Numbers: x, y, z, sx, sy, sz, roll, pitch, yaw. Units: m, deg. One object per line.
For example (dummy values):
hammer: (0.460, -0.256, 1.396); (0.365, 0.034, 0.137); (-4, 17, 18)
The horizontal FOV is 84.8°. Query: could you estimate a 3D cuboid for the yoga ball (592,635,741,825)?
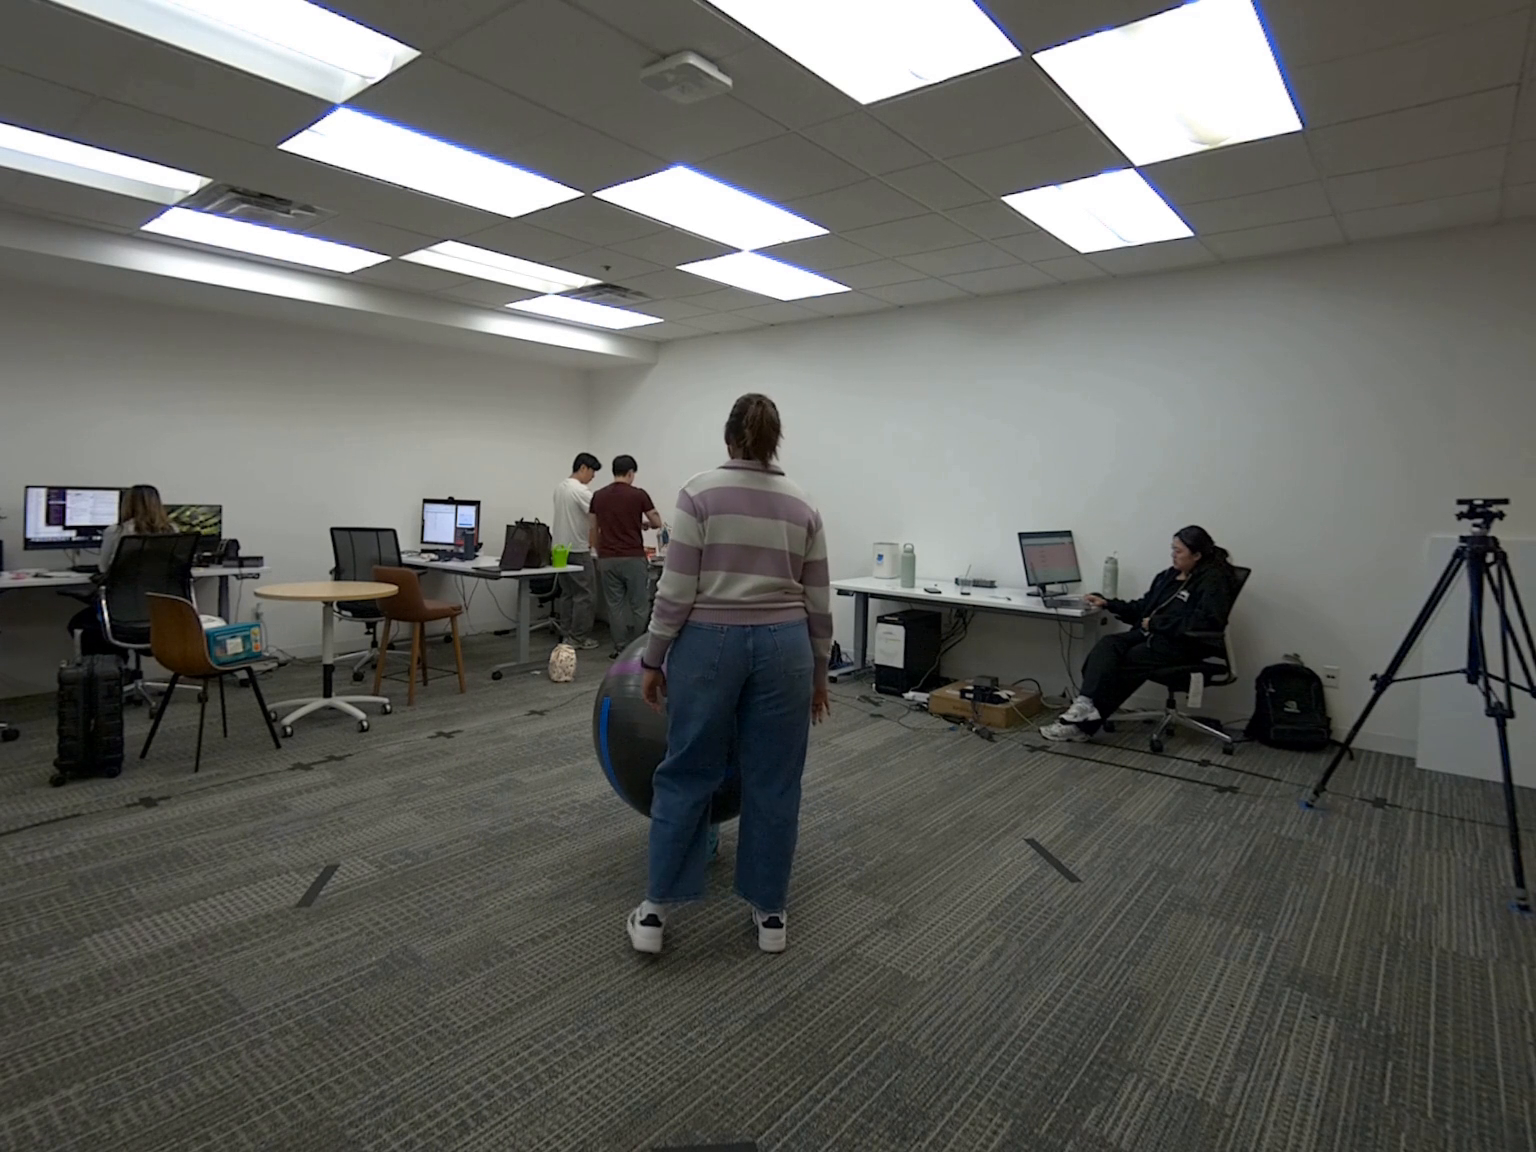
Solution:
yoga ball: (-0.295, 0.542, 3.205); (0.757, 0.756, 0.762); (1, 4, -2)
